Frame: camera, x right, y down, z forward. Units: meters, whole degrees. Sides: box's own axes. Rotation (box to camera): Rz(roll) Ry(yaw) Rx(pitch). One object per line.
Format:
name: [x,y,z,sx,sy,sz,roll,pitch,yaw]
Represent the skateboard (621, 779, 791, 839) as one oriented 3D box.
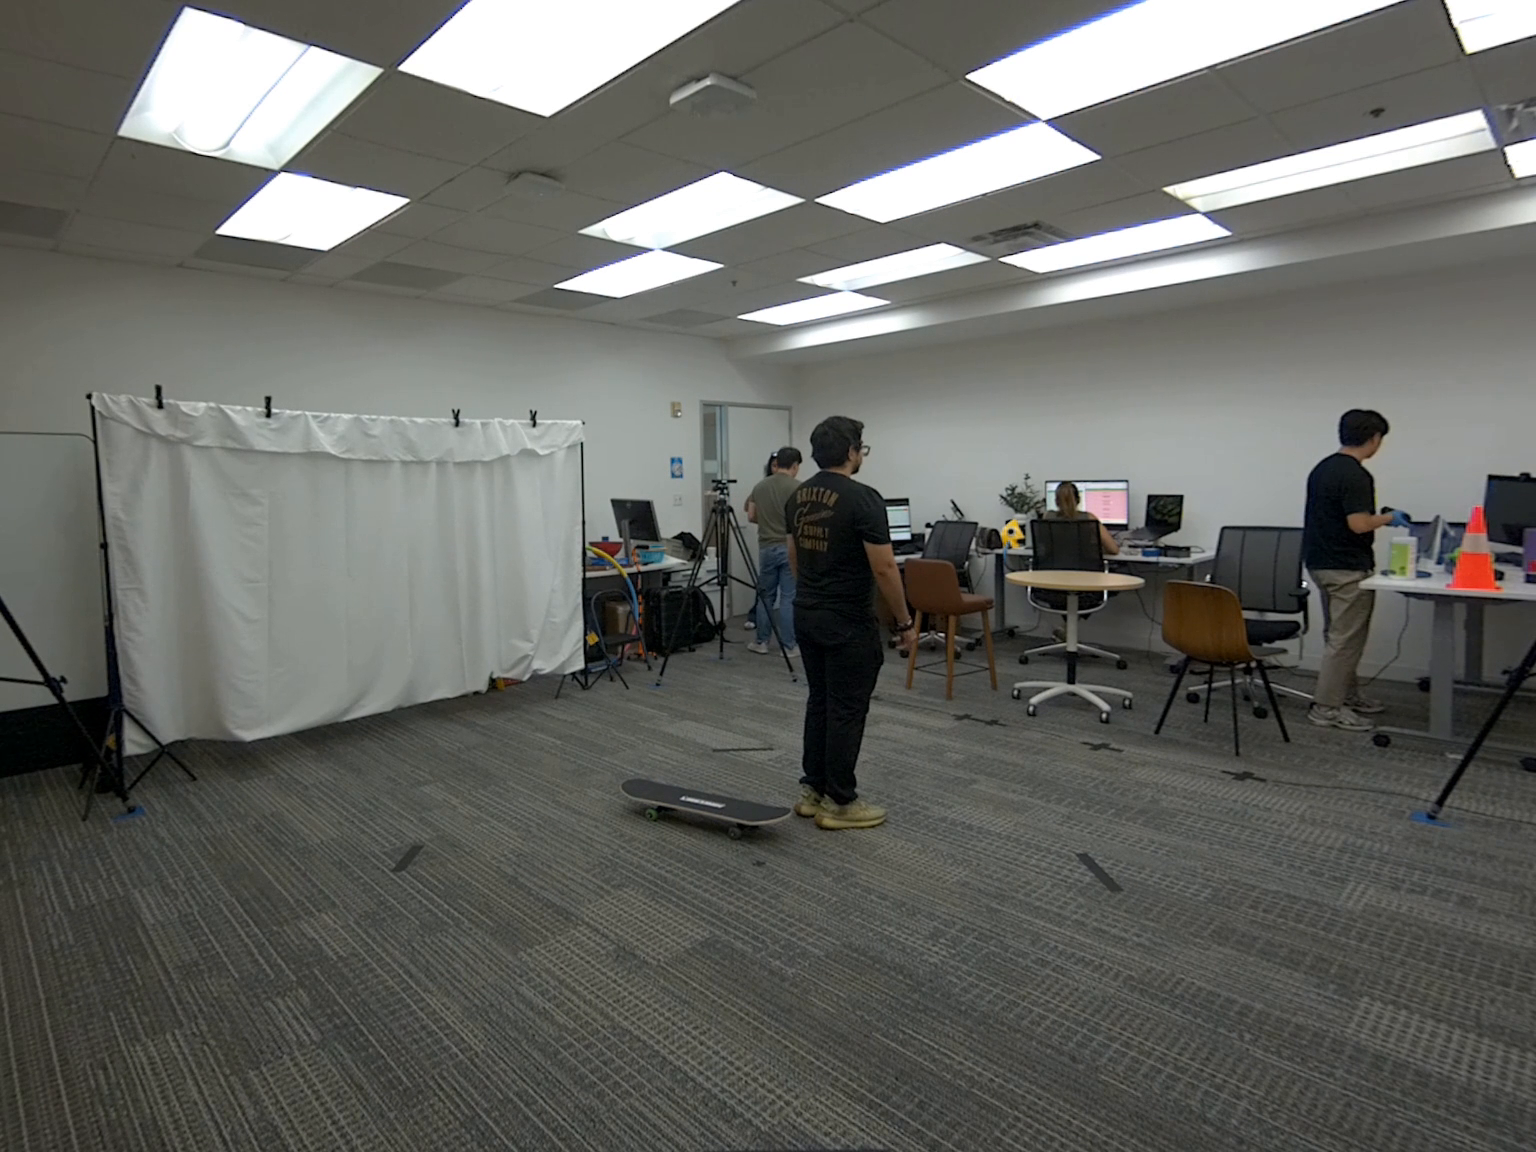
skateboard: [-0.261,0.950,3.493,0.806,0.110,0.189,2,6,30]
